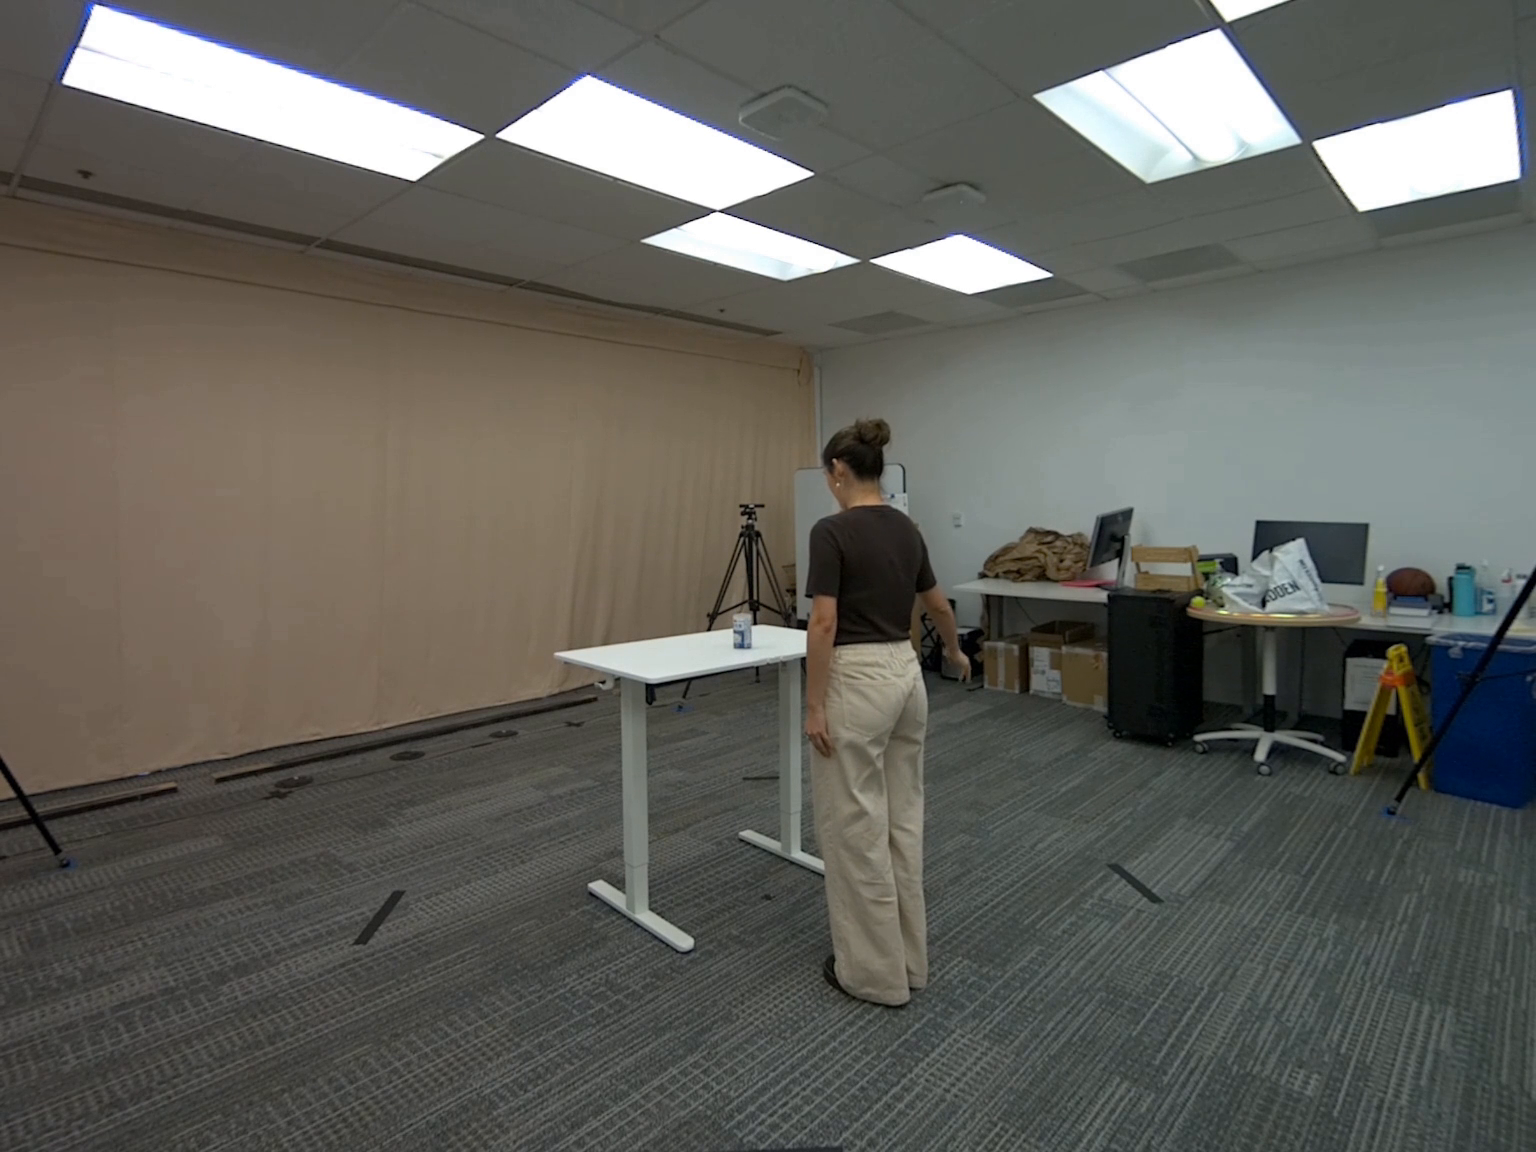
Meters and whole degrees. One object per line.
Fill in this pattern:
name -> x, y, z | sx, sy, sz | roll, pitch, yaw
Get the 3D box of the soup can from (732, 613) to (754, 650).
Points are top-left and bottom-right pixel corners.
soup can -> -0.083, 0.198, 2.994 | 0.067, 0.121, 0.067 | -2, 3, -2
